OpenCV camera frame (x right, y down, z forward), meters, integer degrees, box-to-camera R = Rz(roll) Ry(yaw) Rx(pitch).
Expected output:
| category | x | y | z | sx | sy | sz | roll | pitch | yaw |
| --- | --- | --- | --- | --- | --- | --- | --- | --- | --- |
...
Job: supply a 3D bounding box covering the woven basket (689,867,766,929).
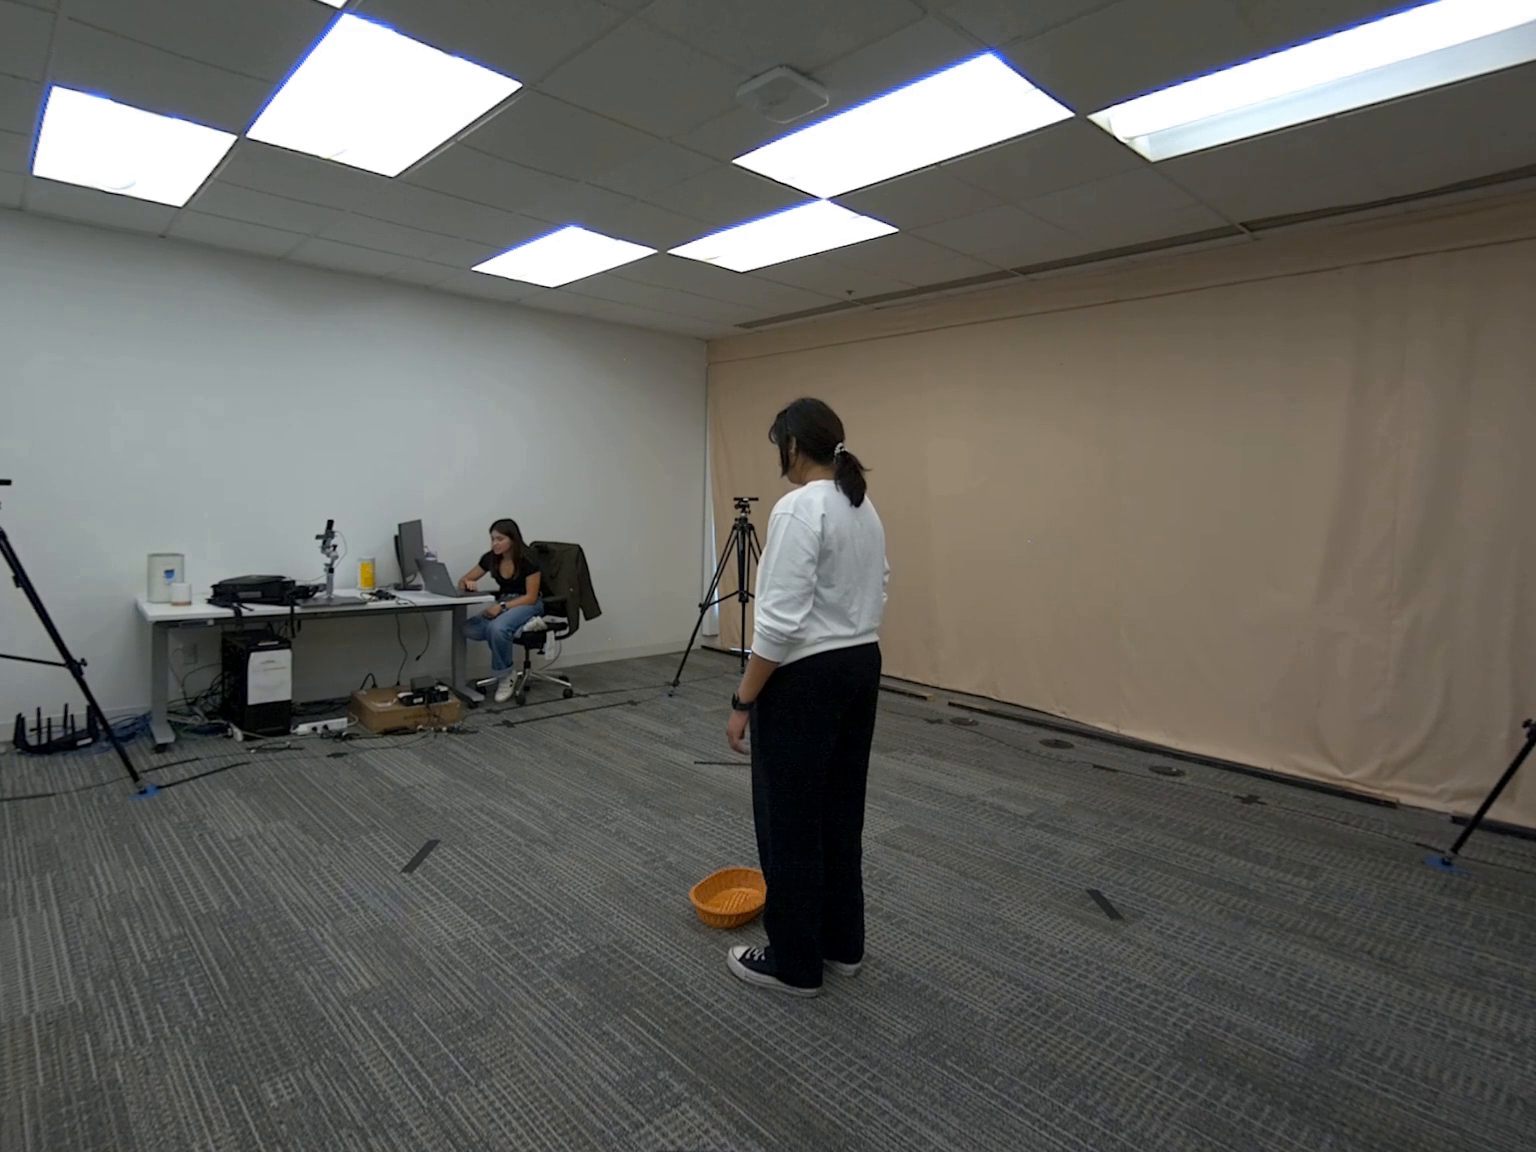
| category | x | y | z | sx | sy | sz | roll | pitch | yaw |
| --- | --- | --- | --- | --- | --- | --- | --- | --- | --- |
| woven basket | -0.118 | 1.091 | 2.854 | 0.258 | 0.073 | 0.343 | 6 | 7 | 34 |
